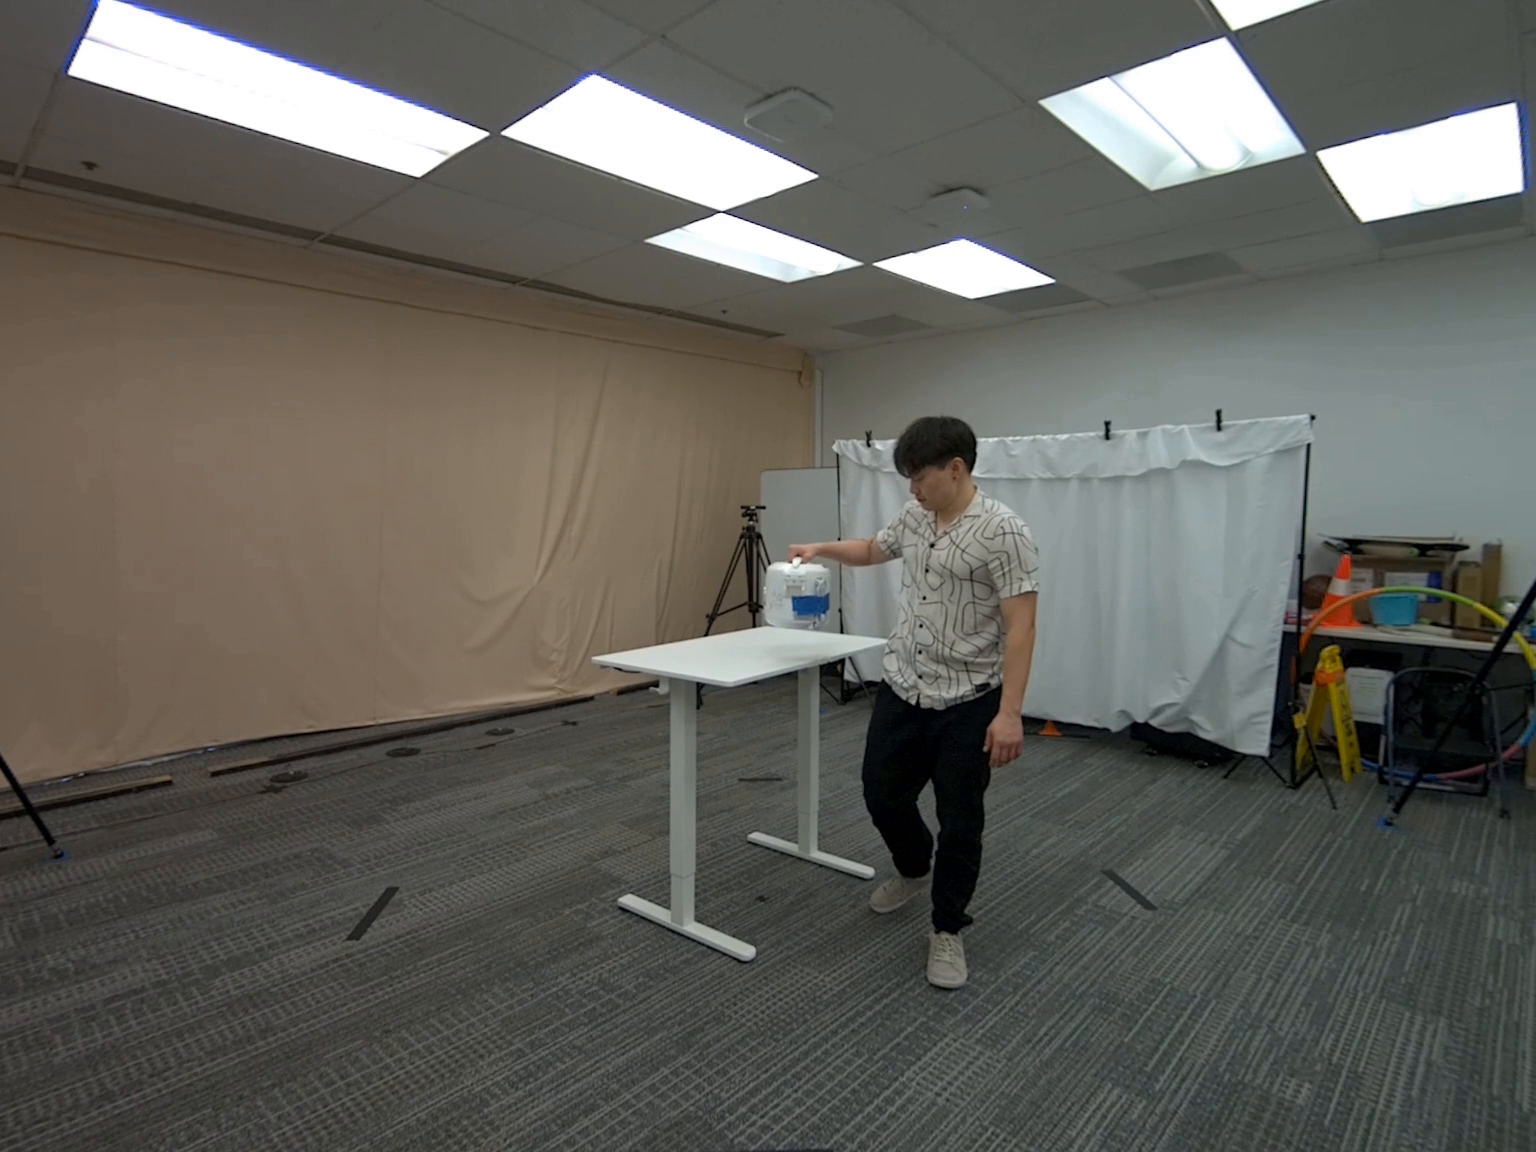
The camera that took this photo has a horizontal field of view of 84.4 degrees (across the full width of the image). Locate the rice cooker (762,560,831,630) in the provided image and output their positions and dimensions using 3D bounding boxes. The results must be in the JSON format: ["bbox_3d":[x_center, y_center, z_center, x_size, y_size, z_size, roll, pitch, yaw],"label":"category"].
[{"bbox_3d":[0.097,0.048,2.767,0.220,0.232,0.218,4,2,11],"label":"rice cooker"}]
